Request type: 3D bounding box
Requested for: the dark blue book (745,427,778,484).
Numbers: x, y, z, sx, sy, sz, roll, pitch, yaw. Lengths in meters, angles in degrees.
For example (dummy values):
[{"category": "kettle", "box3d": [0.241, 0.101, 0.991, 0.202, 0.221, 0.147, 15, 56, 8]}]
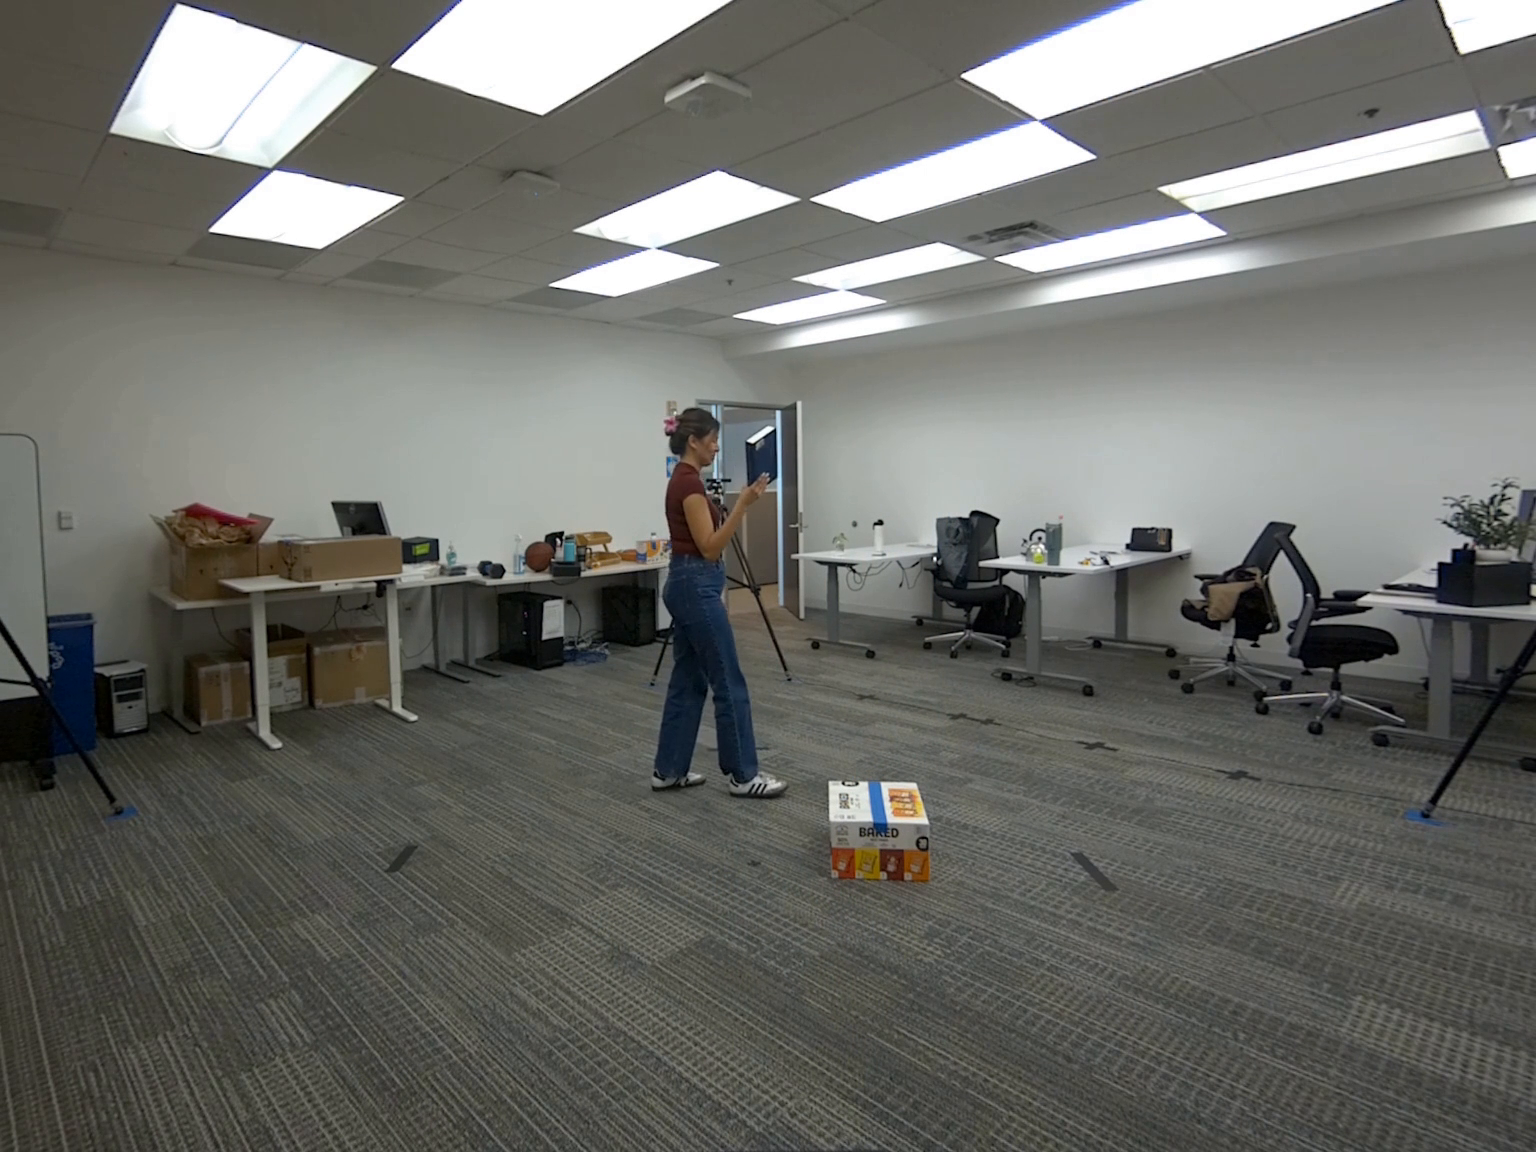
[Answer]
[{"category": "dark blue book", "box3d": [-0.021, -0.482, 3.542, 0.046, 0.238, 0.162, 22, 43, 29]}]
